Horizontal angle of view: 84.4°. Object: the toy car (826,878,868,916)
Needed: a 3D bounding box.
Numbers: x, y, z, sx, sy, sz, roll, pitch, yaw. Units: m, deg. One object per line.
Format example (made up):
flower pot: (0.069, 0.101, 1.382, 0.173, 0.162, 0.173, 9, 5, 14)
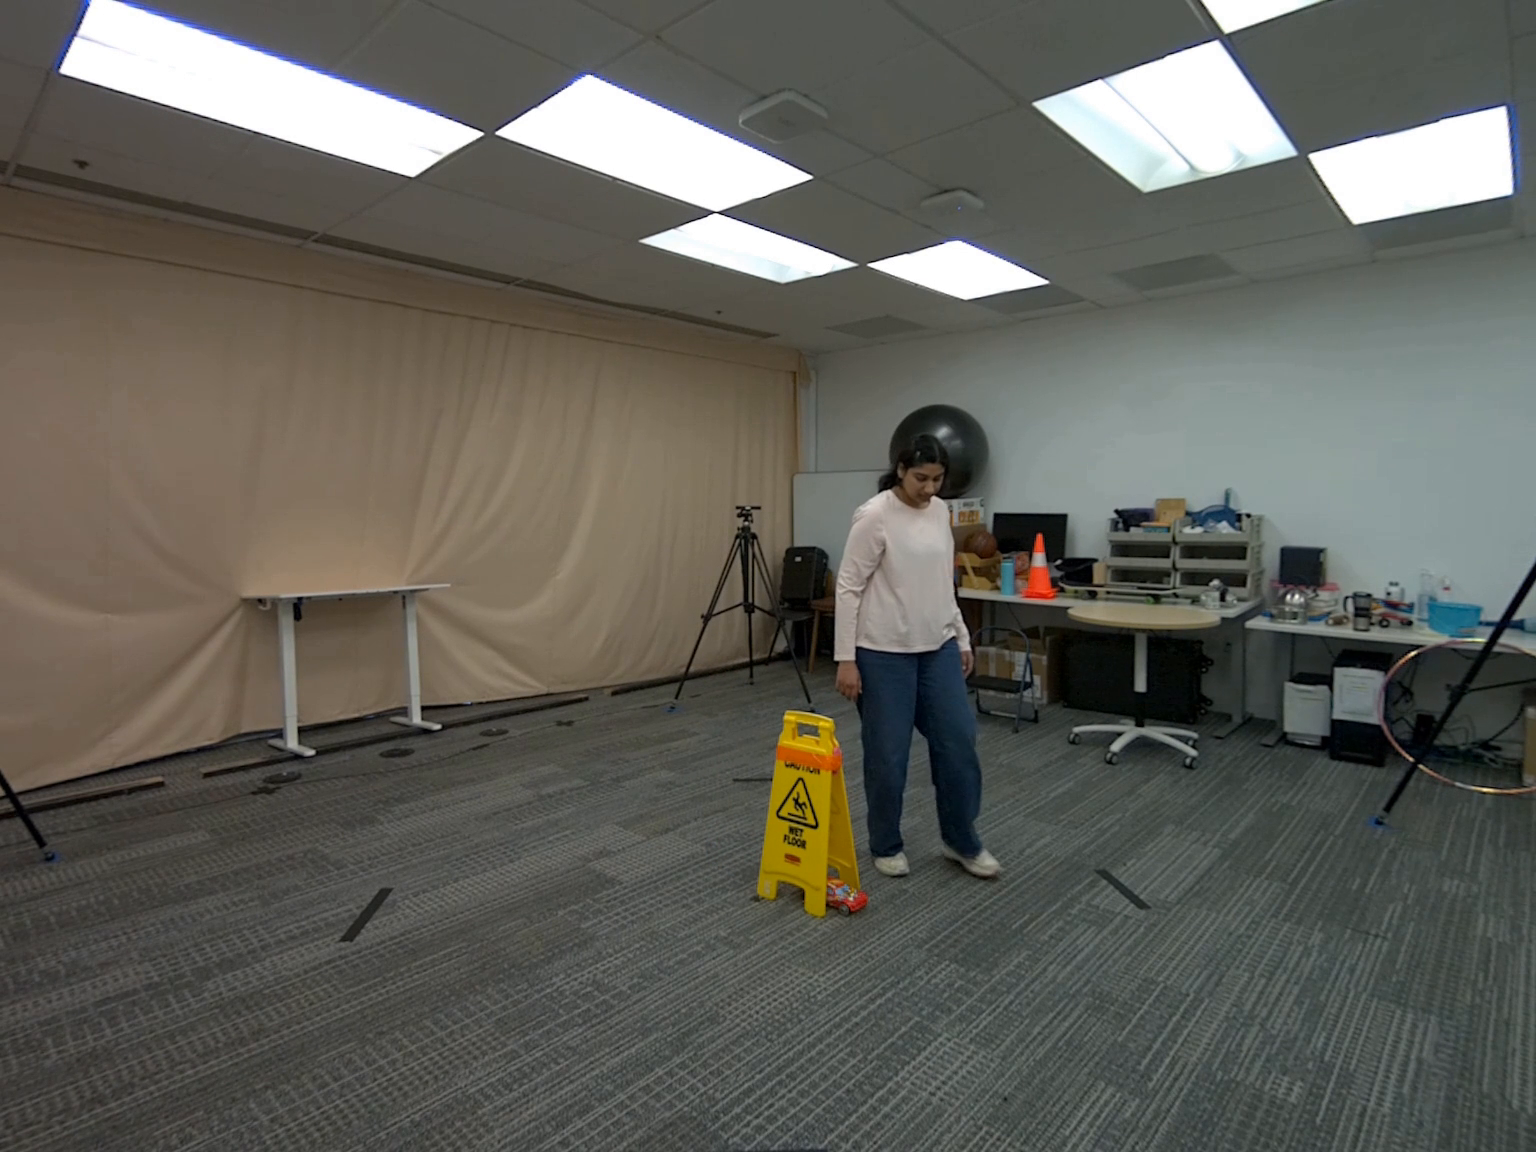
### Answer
toy car: (0.222, 1.111, 2.959, 0.264, 0.083, 0.126, 17, 16, 41)
